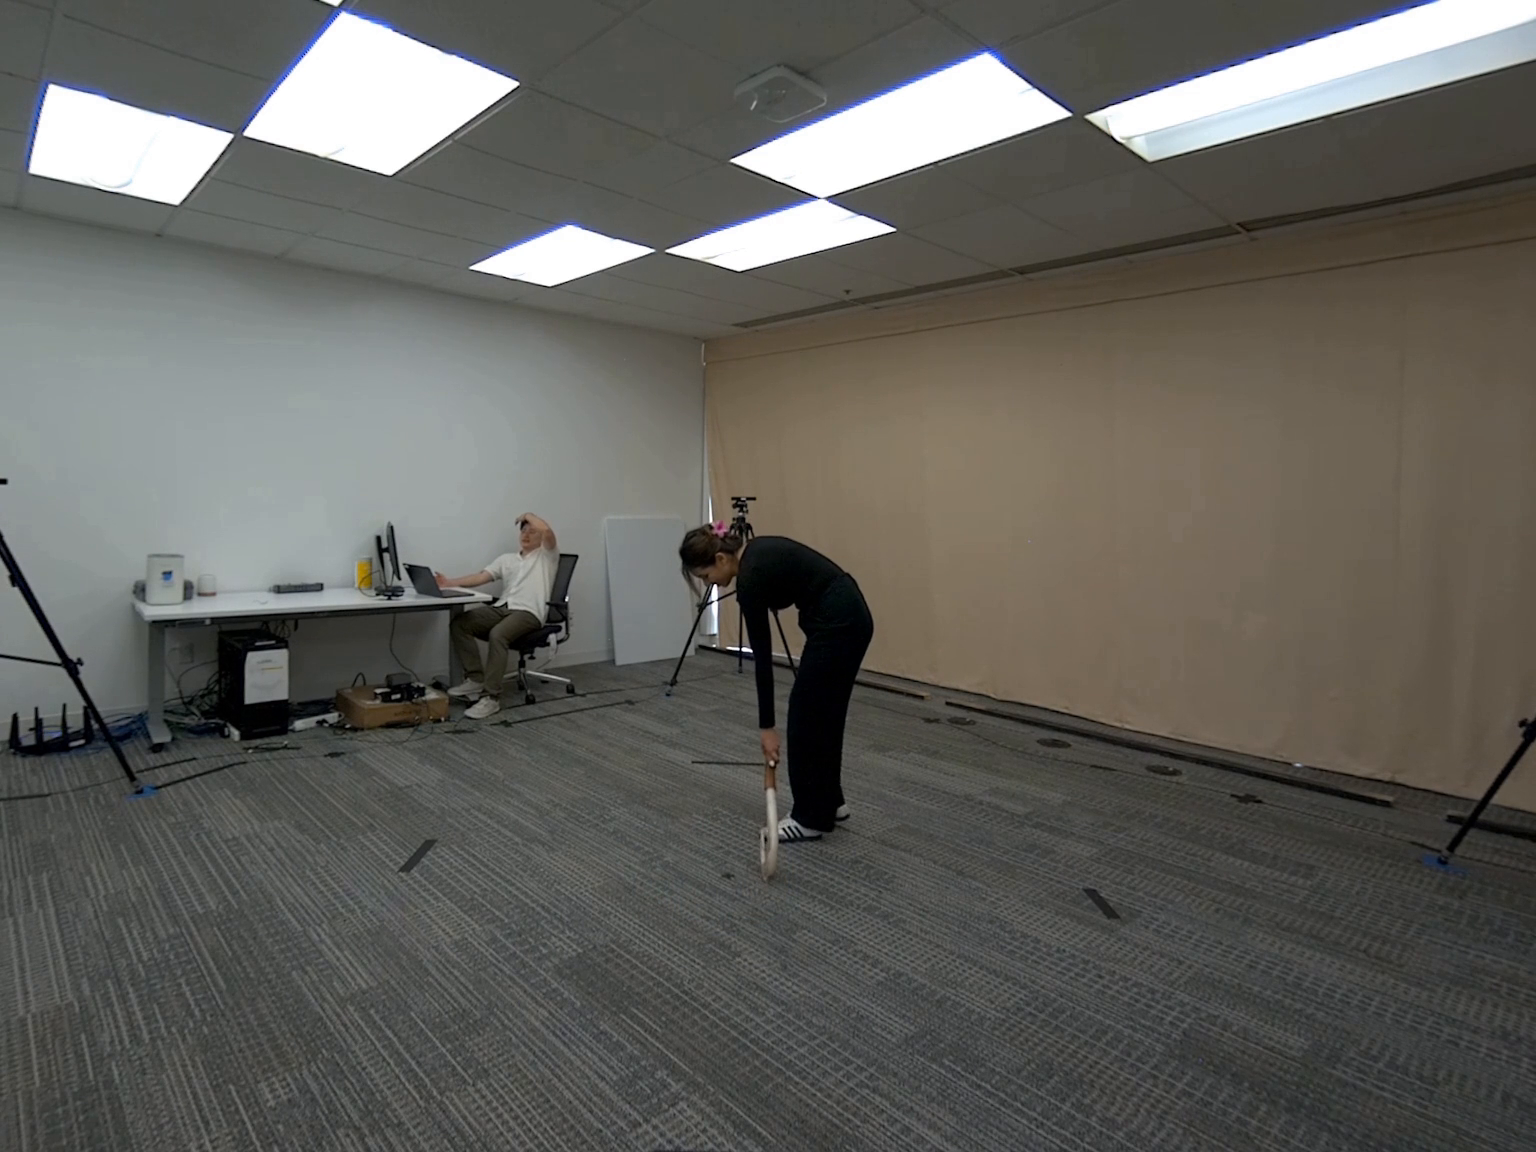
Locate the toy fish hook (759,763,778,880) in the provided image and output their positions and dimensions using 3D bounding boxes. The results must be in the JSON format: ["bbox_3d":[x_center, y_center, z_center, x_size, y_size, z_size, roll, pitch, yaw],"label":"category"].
[{"bbox_3d":[-0.009,0.880,3.194,0.048,0.517,0.222,10,-36,-11],"label":"toy fish hook"}]
